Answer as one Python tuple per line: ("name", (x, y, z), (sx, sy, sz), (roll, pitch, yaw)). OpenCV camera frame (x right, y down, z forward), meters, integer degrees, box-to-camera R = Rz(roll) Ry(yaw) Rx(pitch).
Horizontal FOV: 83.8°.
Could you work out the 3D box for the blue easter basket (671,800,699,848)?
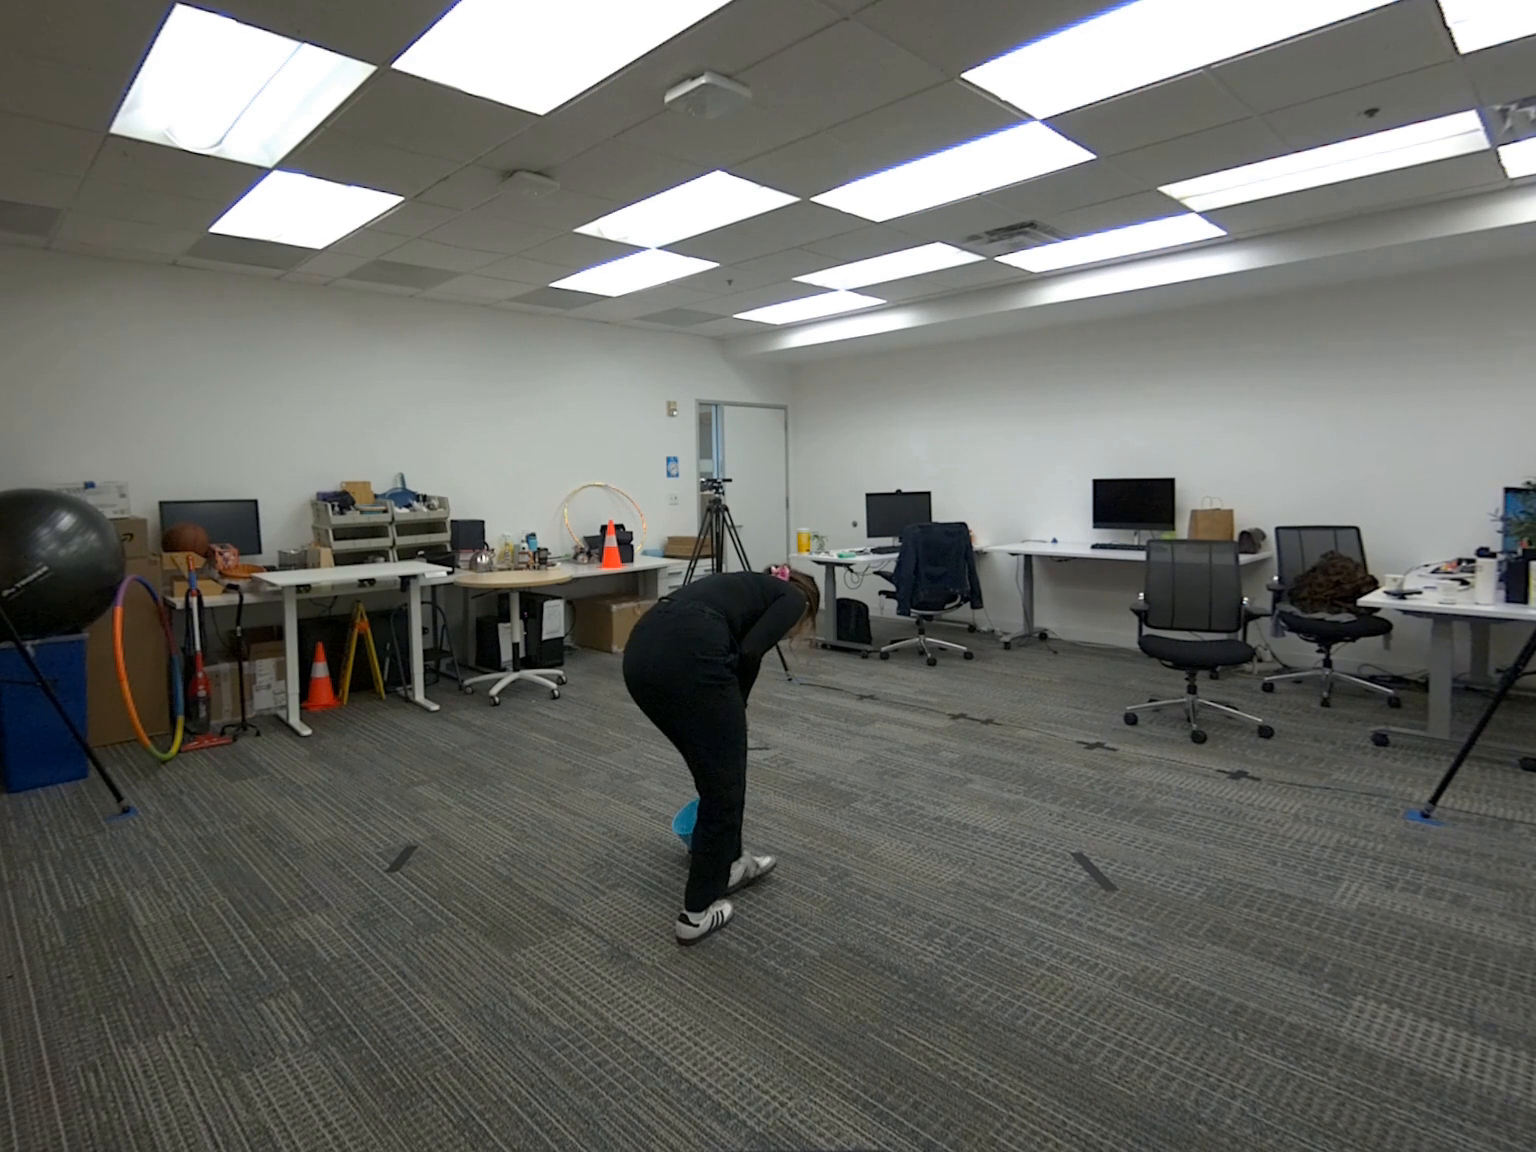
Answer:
("blue easter basket", (-0.224, 0.935, 3.147), (0.244, 0.153, 0.247), (-22, 14, 3))
